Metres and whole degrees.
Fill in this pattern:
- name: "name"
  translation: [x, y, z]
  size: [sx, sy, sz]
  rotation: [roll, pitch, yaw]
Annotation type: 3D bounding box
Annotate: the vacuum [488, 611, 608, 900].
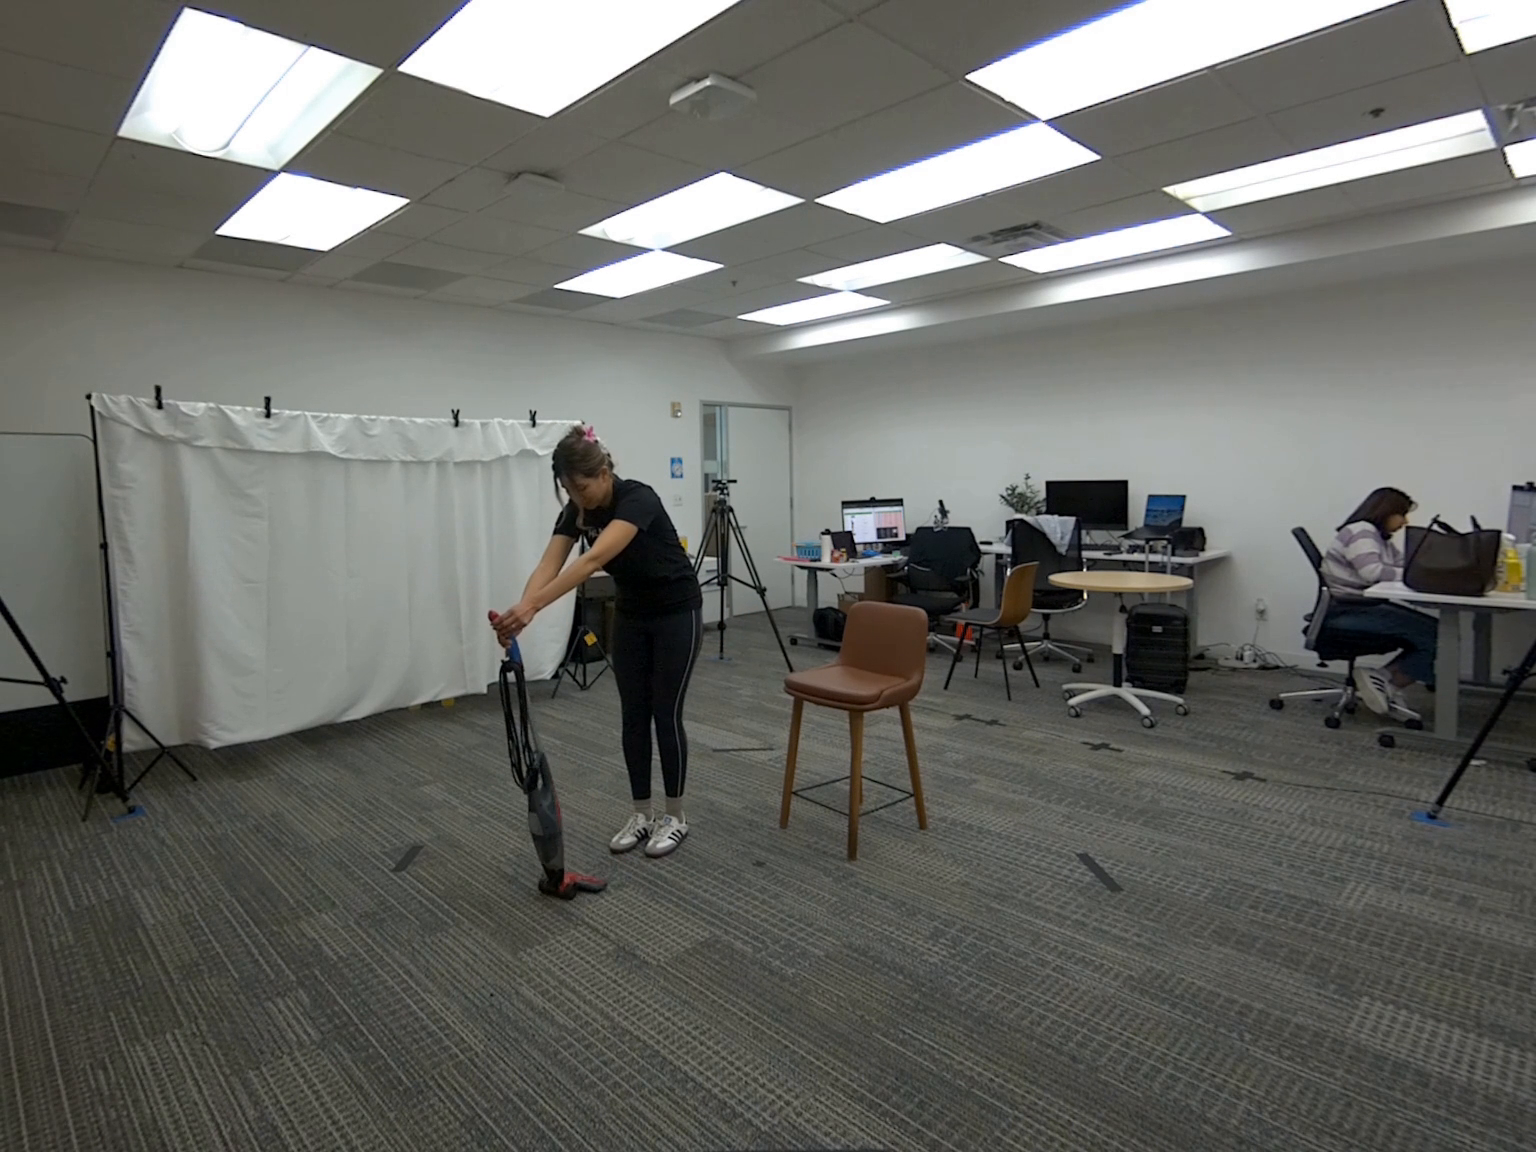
- name: "vacuum"
  translation: [-0.769, 0.603, 2.781]
  size: [0.259, 1.028, 0.143]
  rotation: [2, 23, 31]
